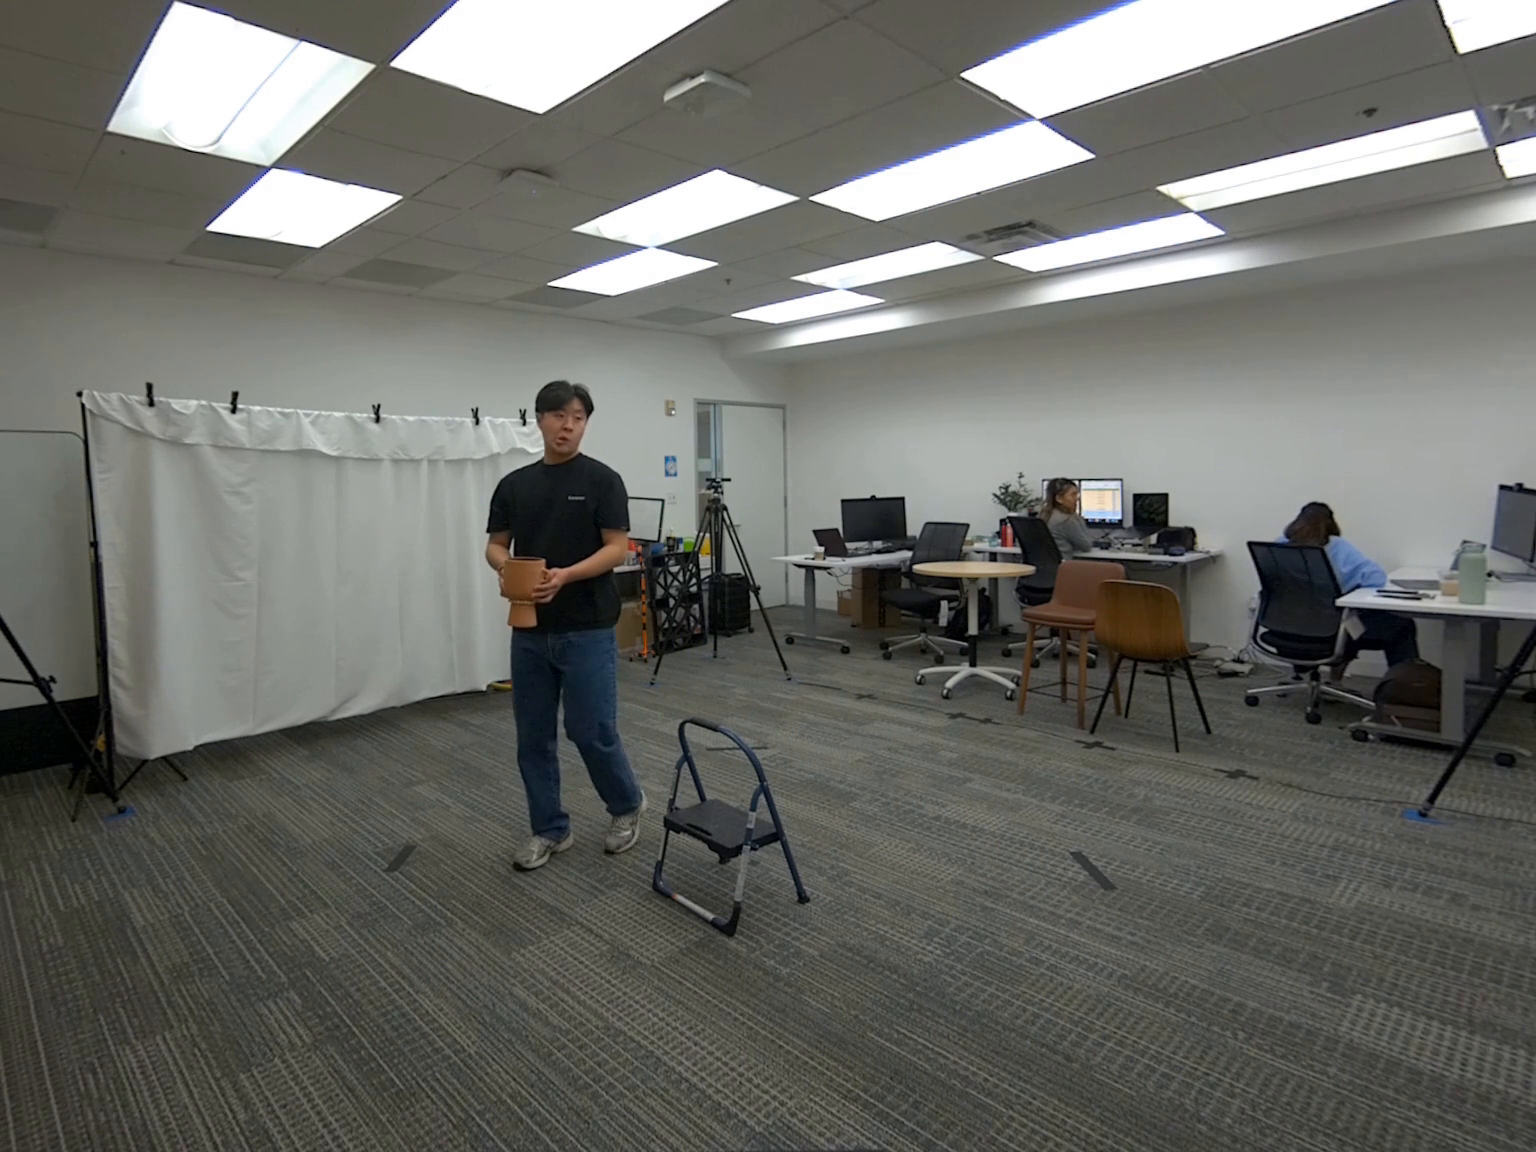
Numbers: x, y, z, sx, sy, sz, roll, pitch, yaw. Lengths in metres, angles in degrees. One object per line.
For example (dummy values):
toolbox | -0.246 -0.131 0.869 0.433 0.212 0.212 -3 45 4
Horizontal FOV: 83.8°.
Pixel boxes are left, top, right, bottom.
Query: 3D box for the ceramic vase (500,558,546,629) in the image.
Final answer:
ceramic vase | -0.813 0.056 2.852 0.131 0.218 0.164 0 8 -32
